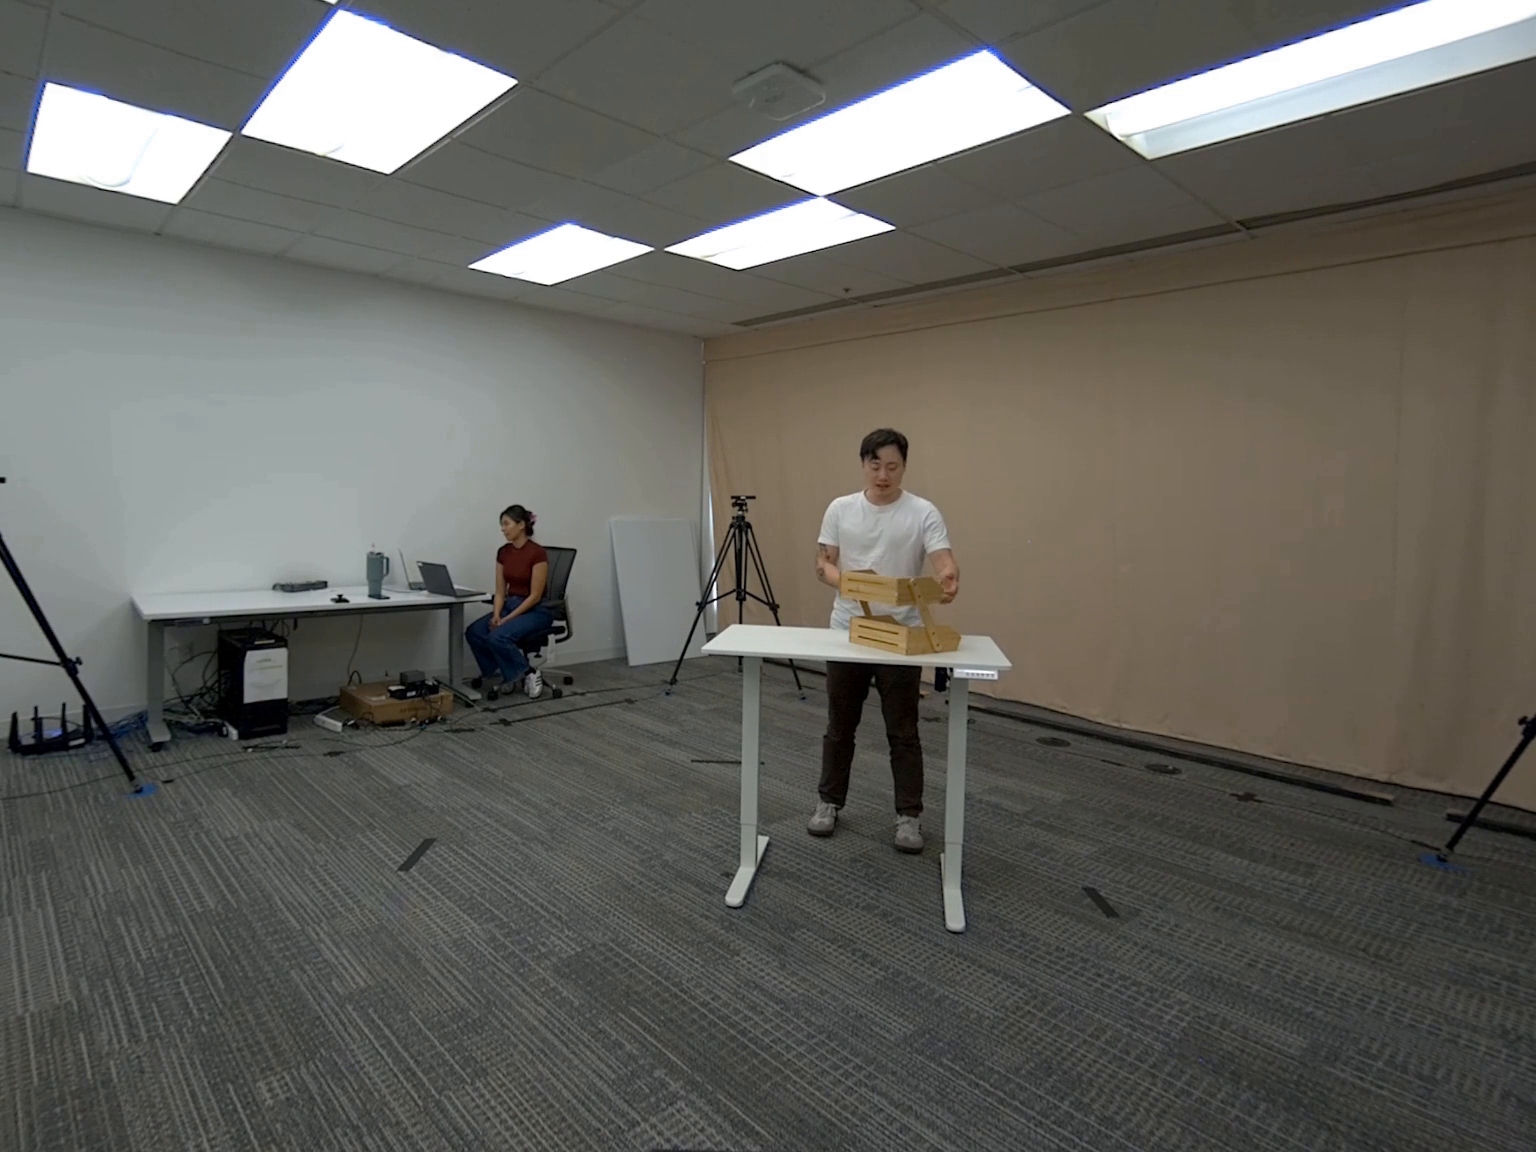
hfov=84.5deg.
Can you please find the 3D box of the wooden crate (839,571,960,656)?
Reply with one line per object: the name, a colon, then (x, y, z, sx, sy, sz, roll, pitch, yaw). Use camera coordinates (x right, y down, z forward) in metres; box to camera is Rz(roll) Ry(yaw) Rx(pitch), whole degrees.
wooden crate: (0.453, 0.117, 2.948, 0.296, 0.272, 0.332, -2, 5, -32)
